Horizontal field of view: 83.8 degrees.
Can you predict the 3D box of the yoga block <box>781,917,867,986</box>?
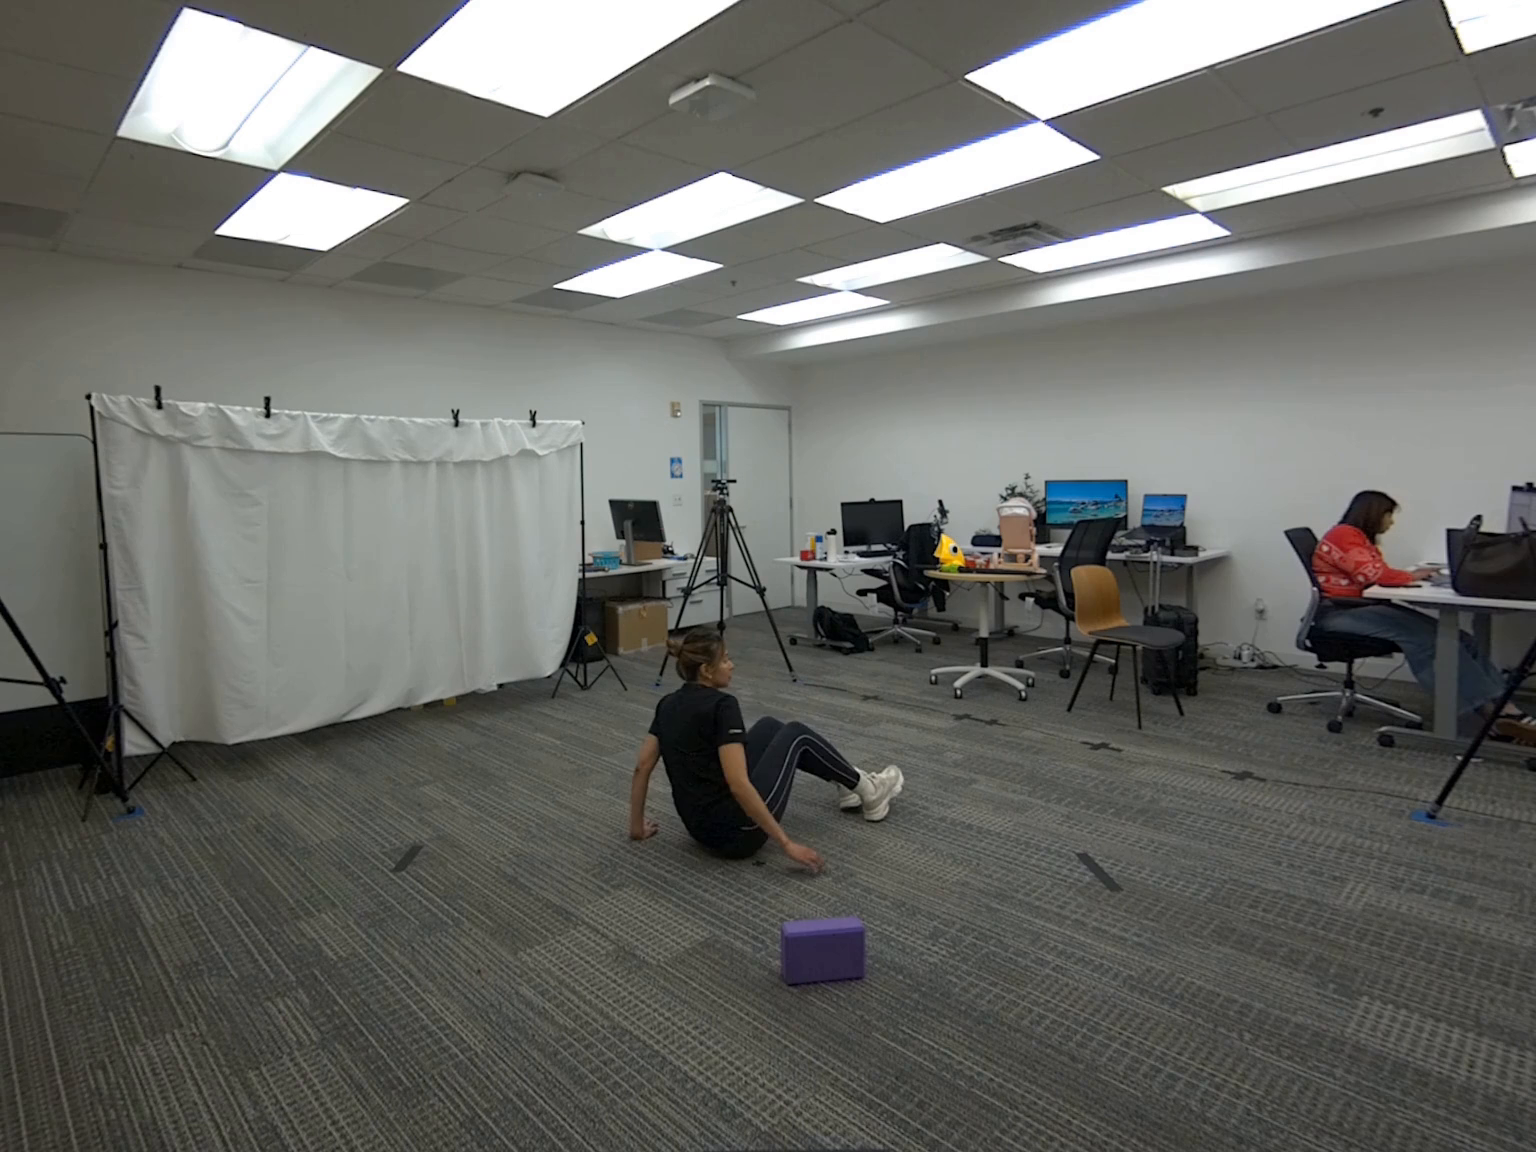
[{"bbox_3d":[0.154,1.053,2.394,0.228,0.148,0.077,-1,5,-6],"label":"yoga block"}]
